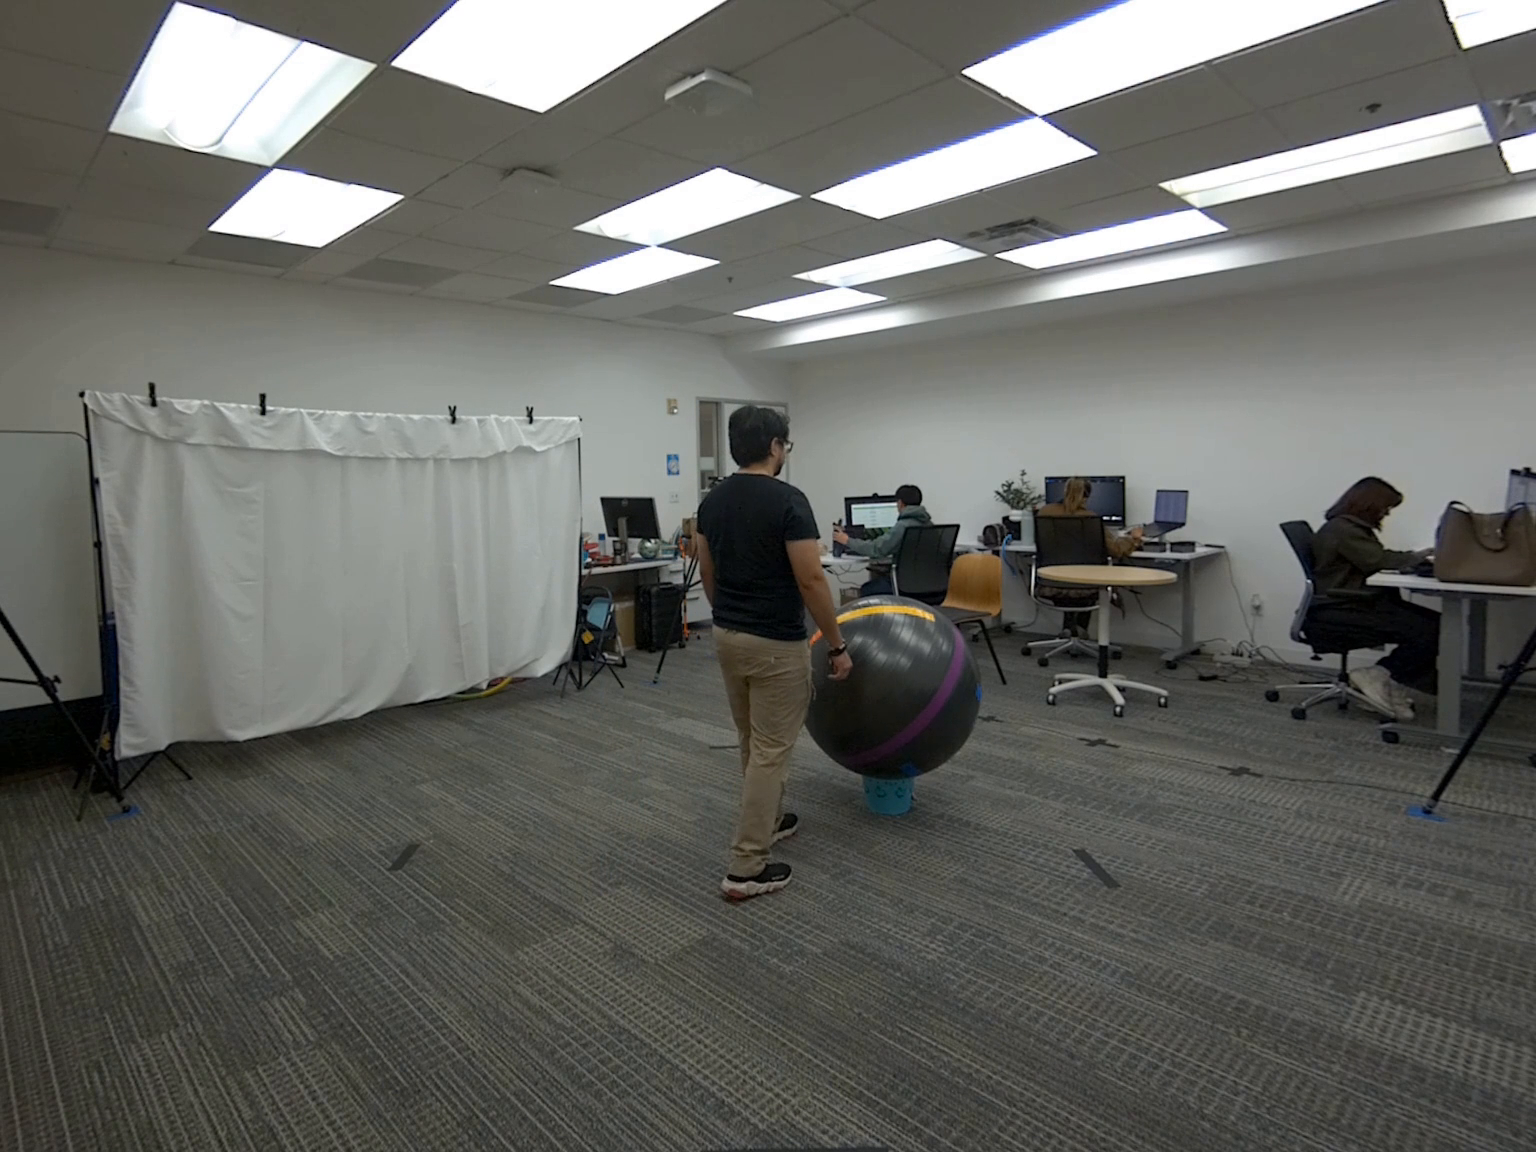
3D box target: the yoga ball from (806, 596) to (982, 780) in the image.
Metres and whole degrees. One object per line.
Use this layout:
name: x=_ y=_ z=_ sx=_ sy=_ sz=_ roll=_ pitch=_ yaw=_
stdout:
yoga ball: x=0.496 y=0.463 z=3.571 sx=0.757 sy=0.755 sz=0.762 roll=-1 pitch=5 yaw=-2
